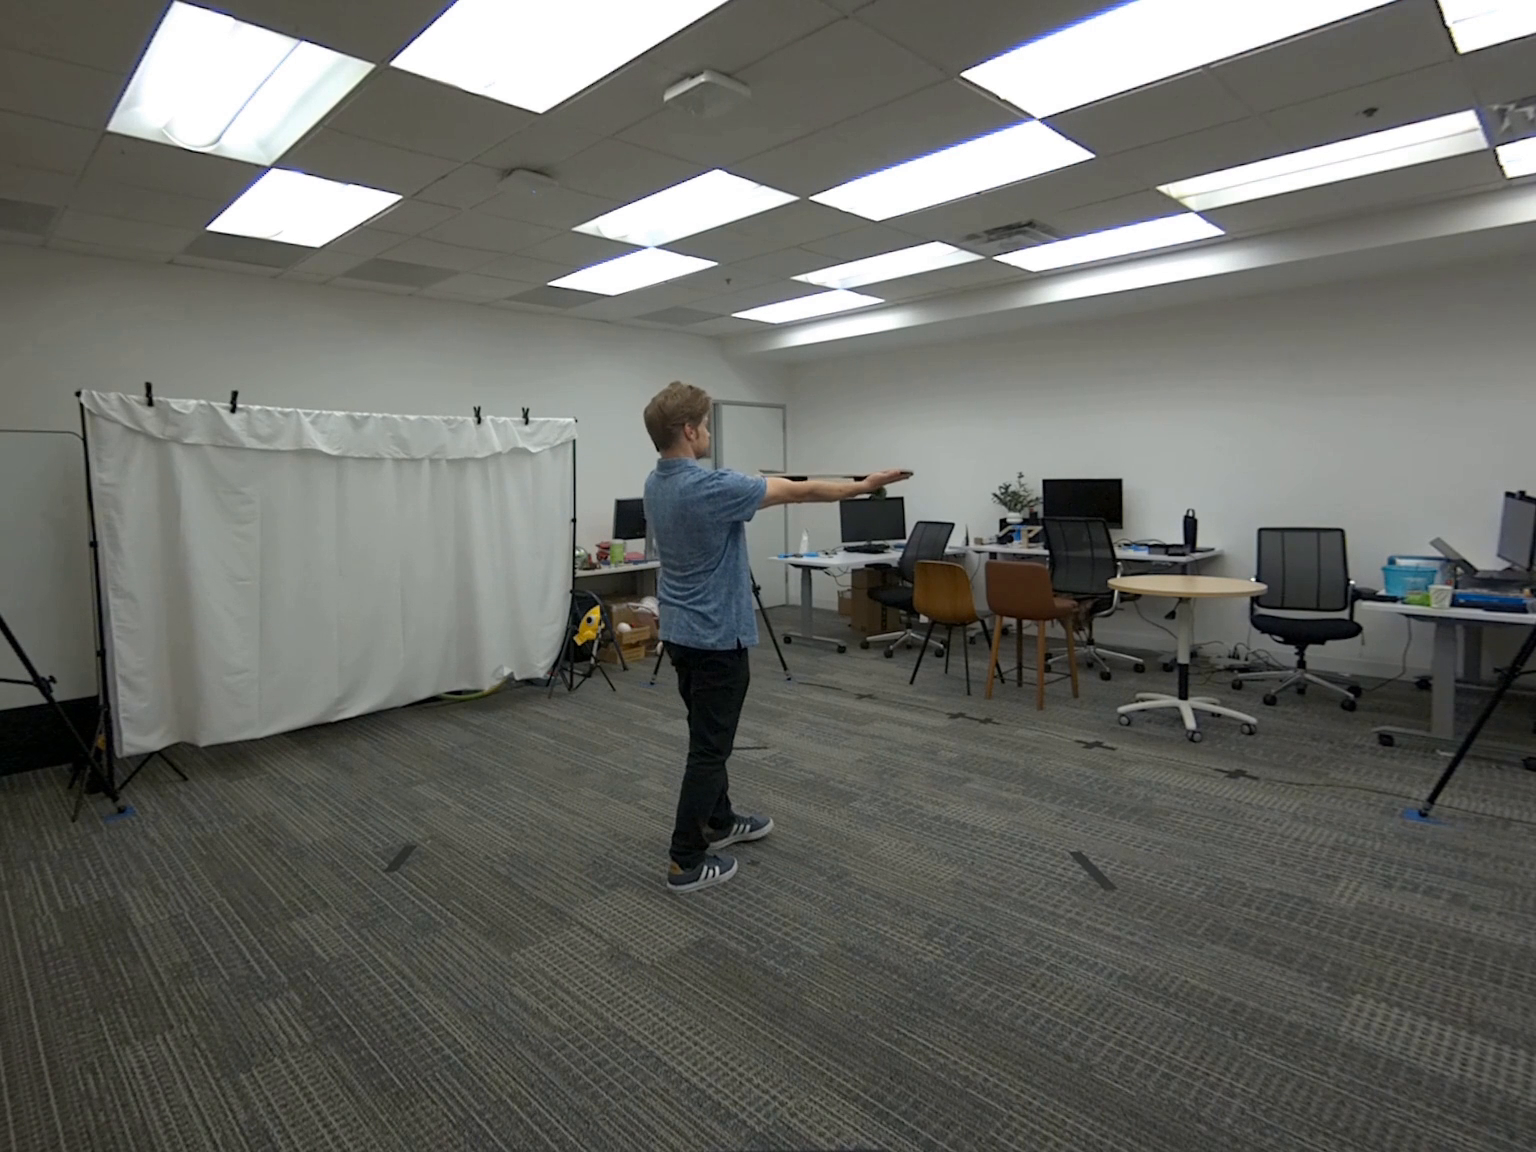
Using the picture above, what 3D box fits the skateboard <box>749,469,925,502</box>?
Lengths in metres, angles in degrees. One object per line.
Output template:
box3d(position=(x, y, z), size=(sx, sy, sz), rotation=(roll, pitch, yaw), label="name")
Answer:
box3d(position=(0.236, -0.358, 3.330), size=(0.188, 0.110, 0.810), rotation=(-3, 7, -37), label="skateboard")
